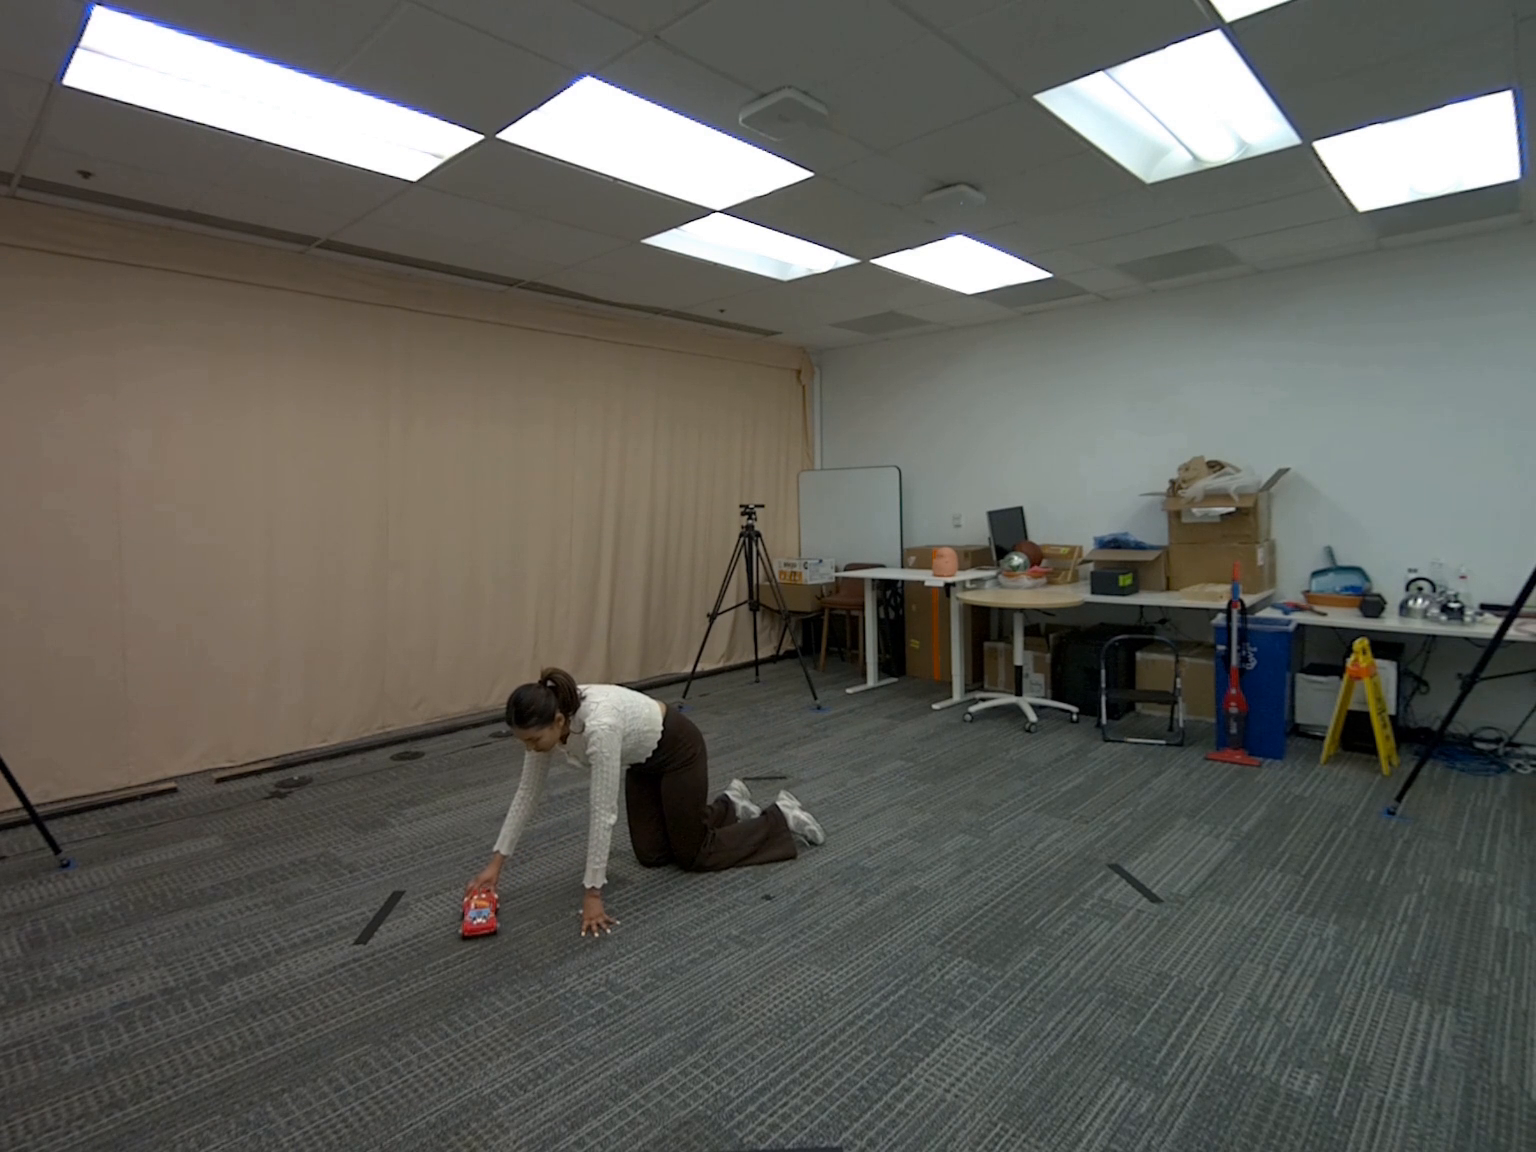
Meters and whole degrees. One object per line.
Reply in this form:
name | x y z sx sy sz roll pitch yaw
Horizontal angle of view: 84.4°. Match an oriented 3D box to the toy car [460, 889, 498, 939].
toy car | -0.977 1.145 2.842 0.128 0.082 0.261 -3 15 -18
